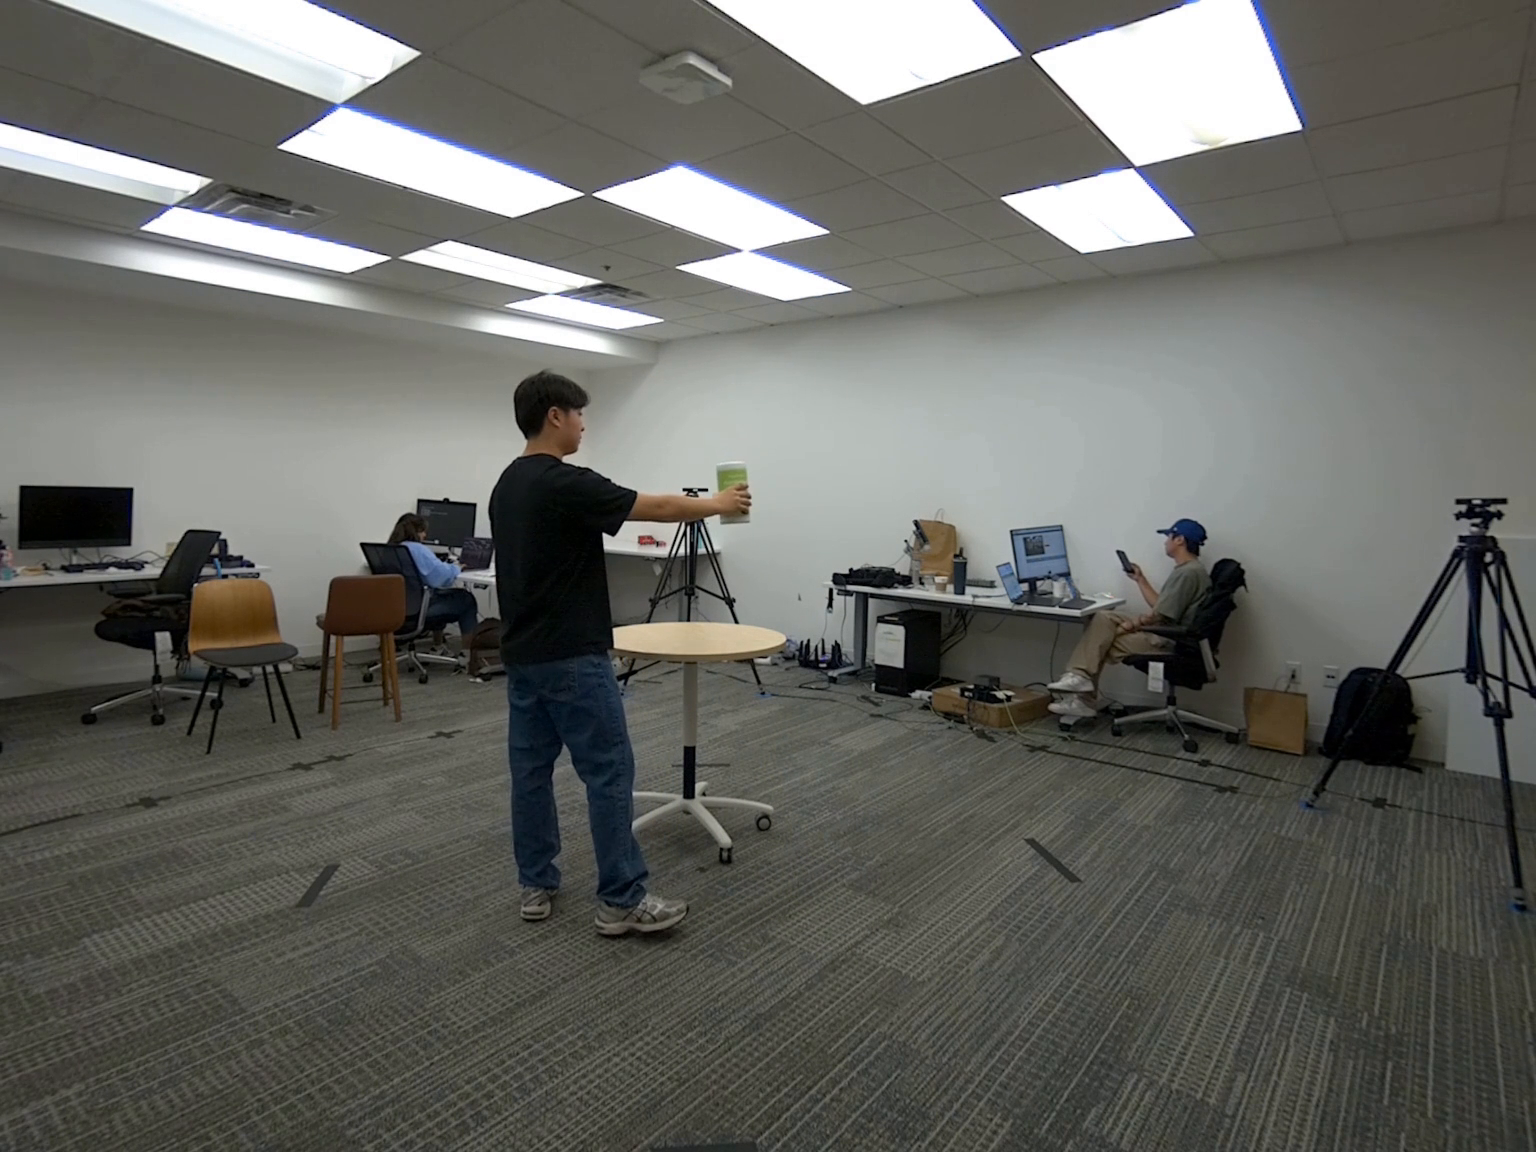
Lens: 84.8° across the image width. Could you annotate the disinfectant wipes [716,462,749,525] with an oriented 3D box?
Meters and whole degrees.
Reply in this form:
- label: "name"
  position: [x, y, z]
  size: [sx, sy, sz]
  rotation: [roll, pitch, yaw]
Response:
- label: "disinfectant wipes"
  position: [-0.133, -0.296, 3.013]
  size: [0.118, 0.218, 0.118]
  rotation: [-4, -1, -2]
